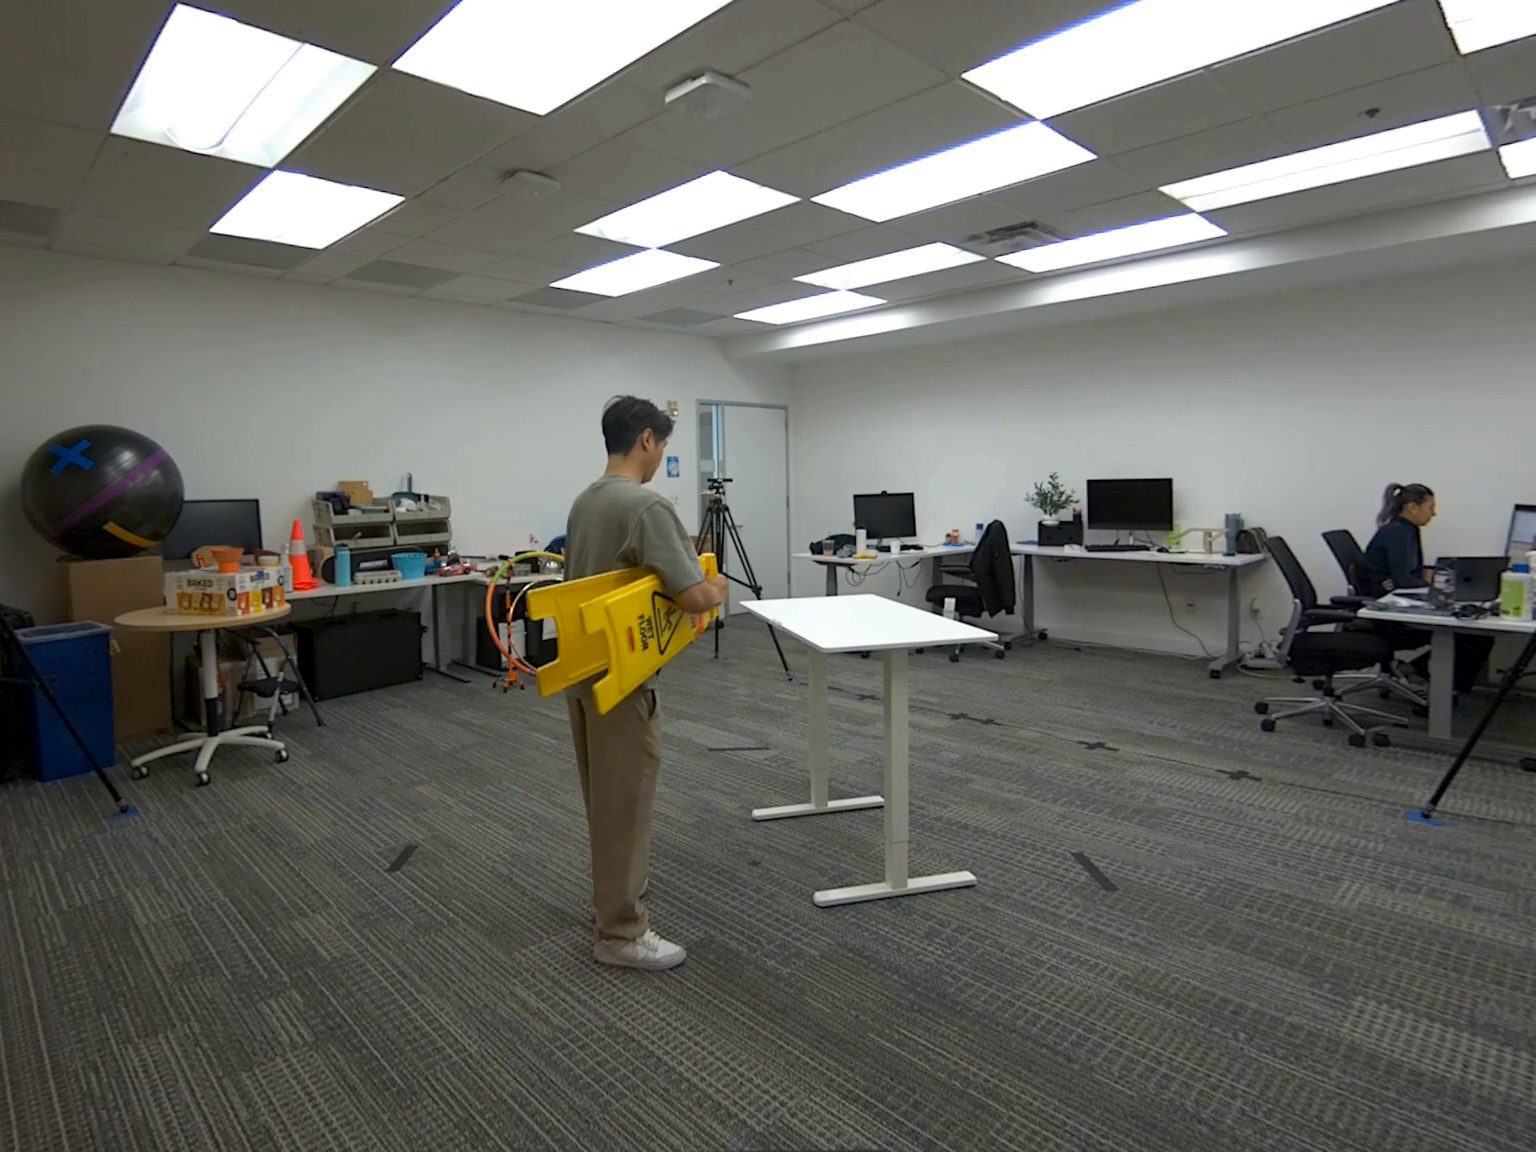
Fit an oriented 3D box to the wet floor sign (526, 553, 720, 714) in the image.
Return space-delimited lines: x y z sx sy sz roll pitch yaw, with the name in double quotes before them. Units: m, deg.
"wet floor sign" -0.343 0.114 2.360 0.298 0.278 0.636 4 18 35
